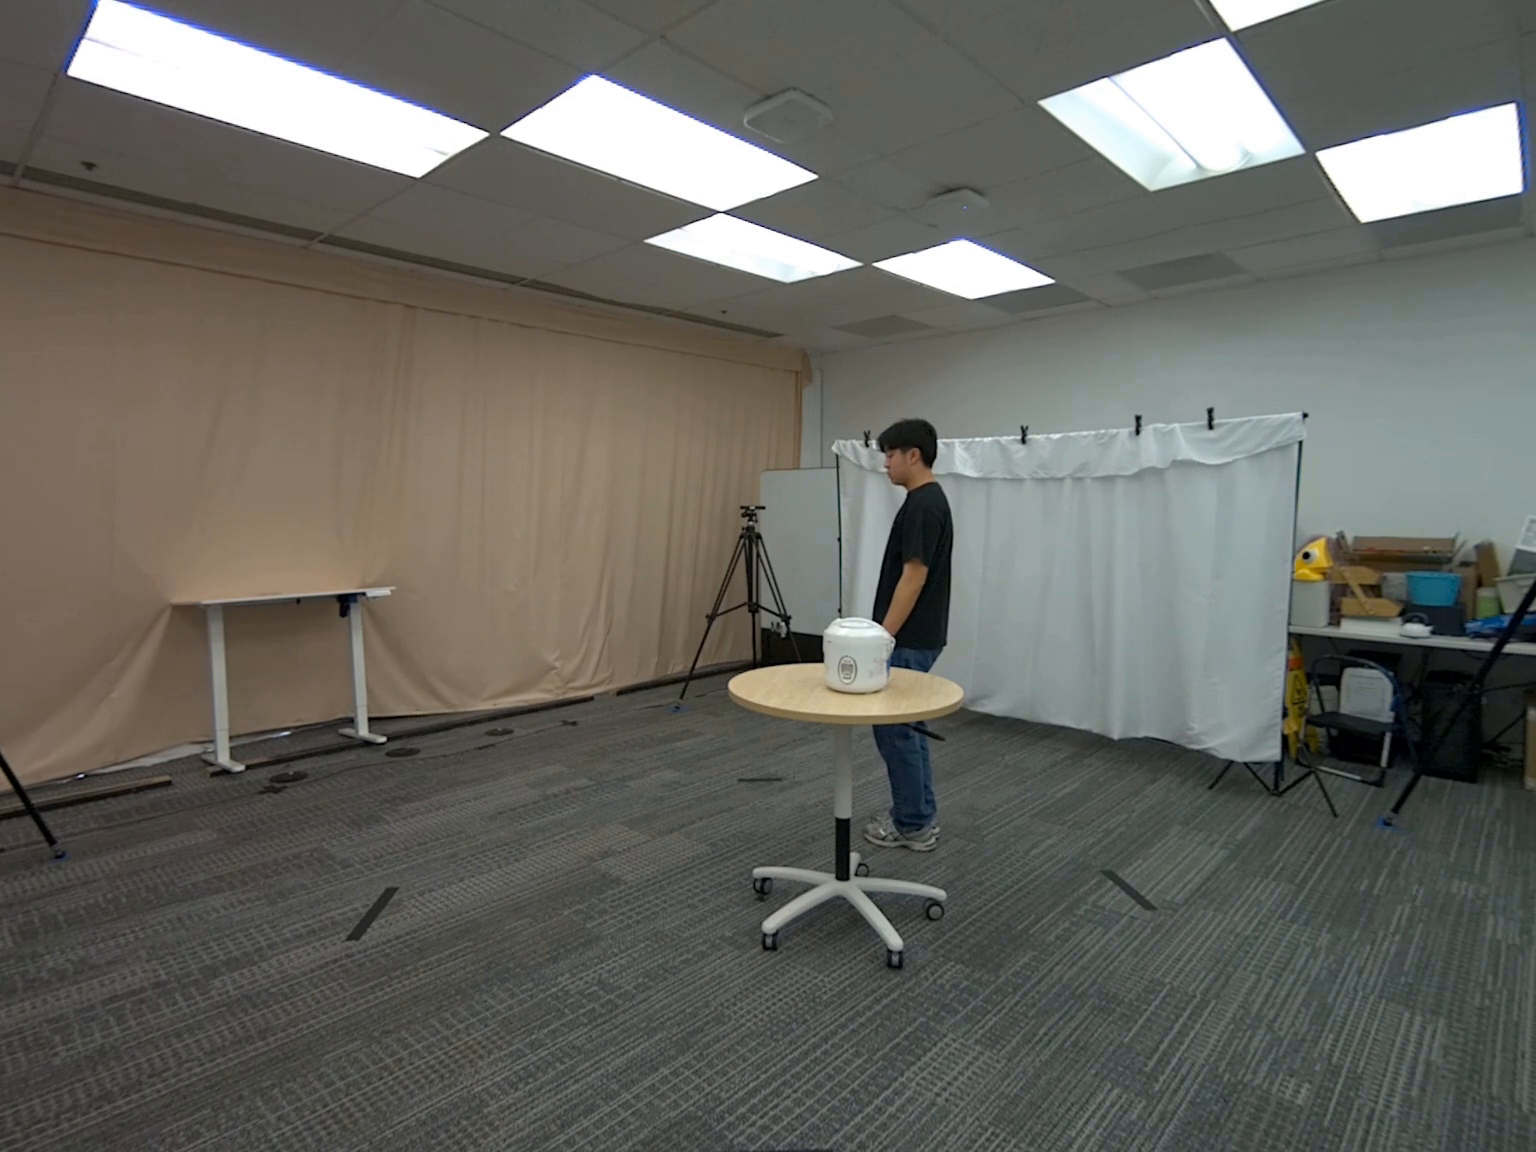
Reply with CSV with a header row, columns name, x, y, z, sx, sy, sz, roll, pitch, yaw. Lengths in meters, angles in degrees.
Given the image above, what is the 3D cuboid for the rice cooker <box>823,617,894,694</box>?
name,x,y,z,sx,sy,sz,roll,pitch,yaw
rice cooker,0.298,0.252,2.743,0.226,0.232,0.213,2,4,22
